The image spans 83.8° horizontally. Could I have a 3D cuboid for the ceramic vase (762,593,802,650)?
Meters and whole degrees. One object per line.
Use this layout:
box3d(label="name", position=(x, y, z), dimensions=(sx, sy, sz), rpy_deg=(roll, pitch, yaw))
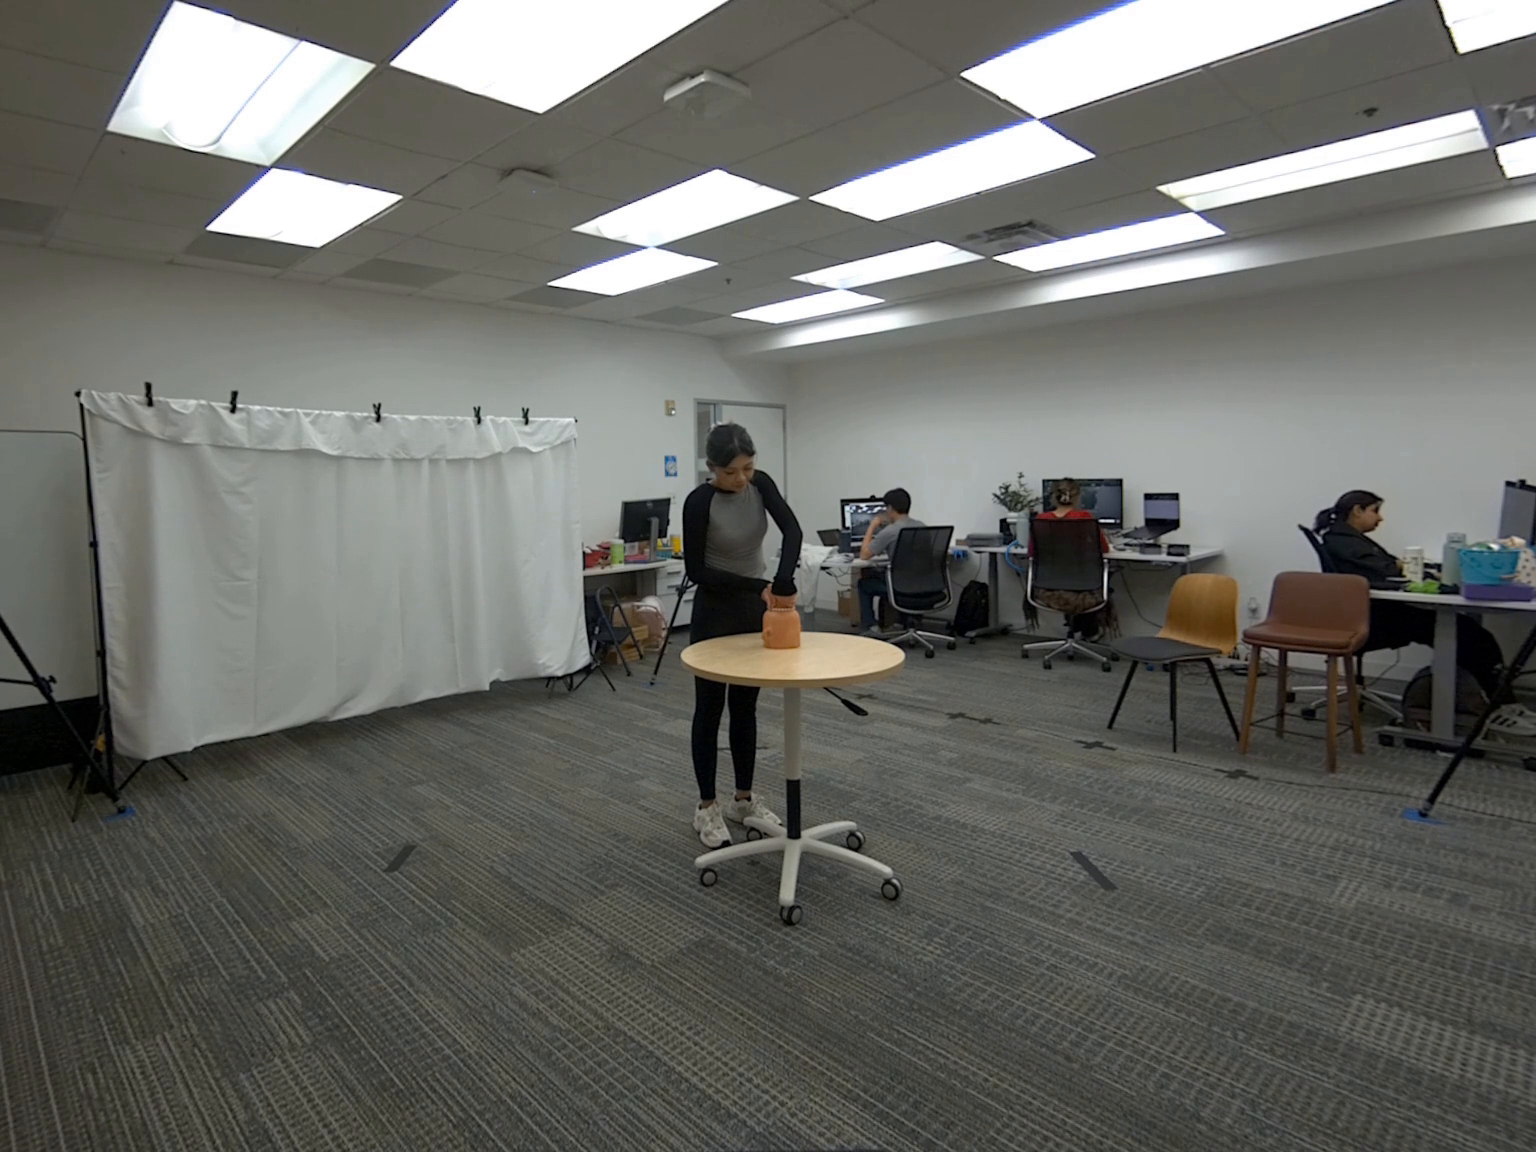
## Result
box3d(label="ceramic vase", position=(0.050, 0.142, 3.066), dimensions=(0.135, 0.218, 0.159), rpy_deg=(-1, 7, 4))
